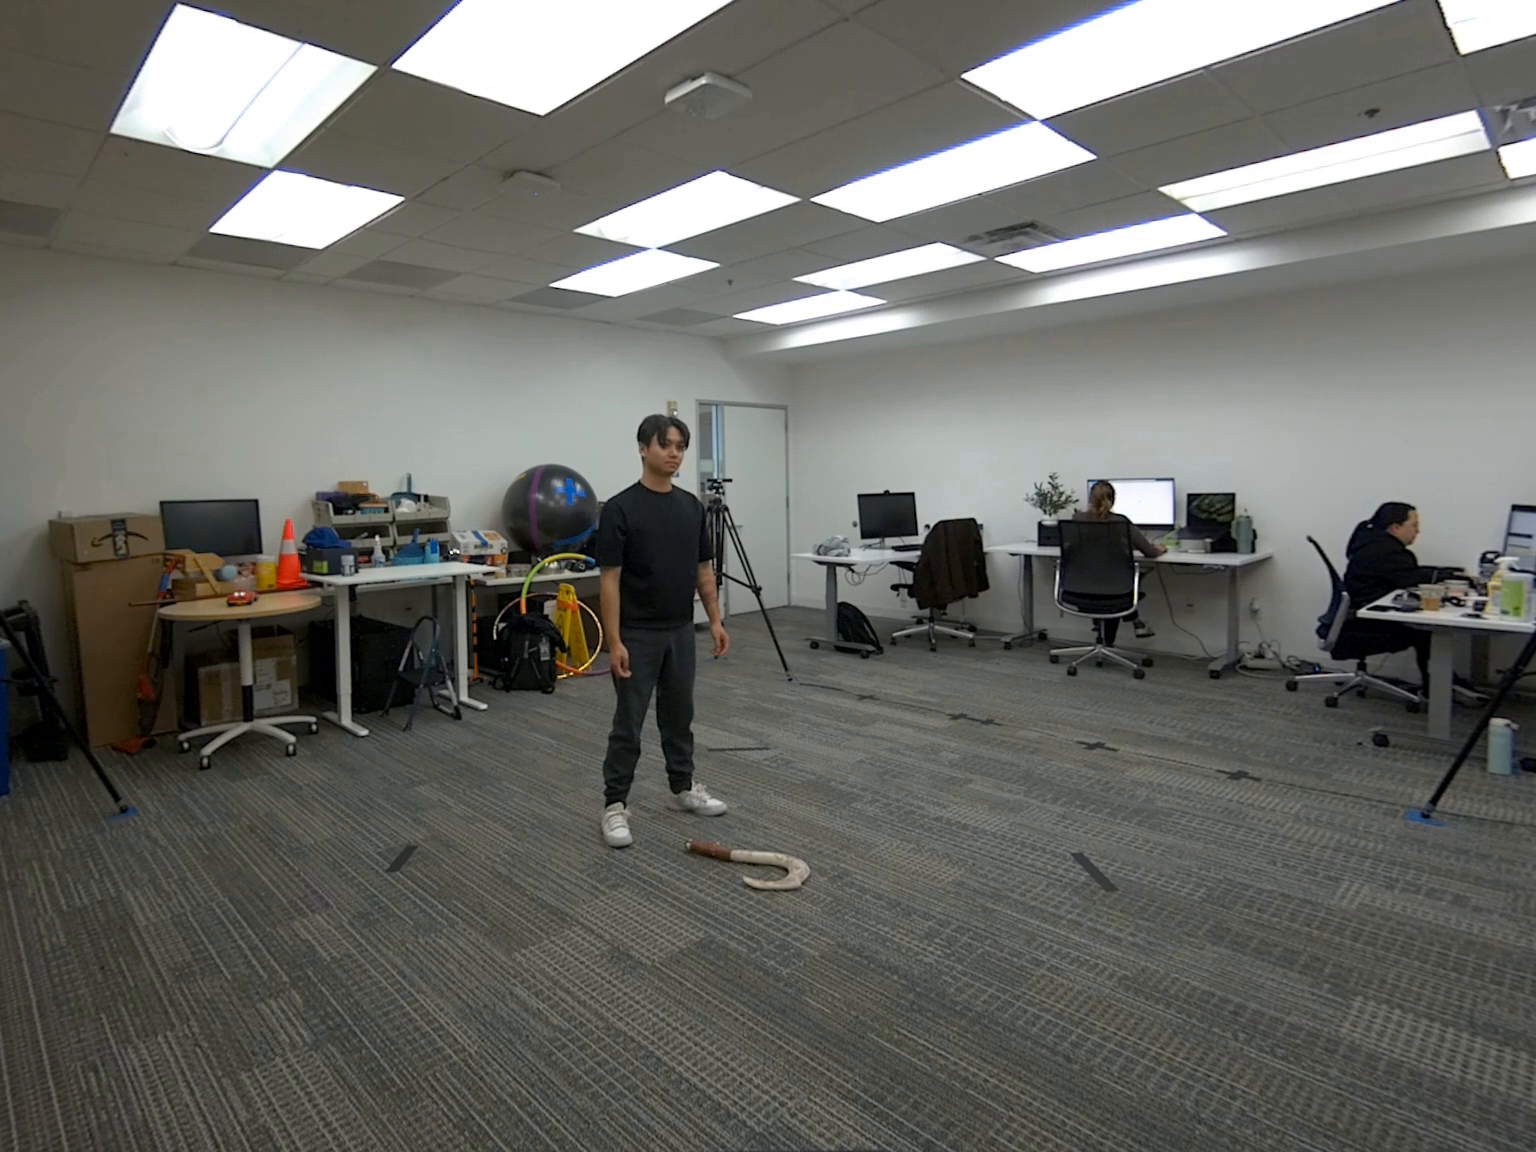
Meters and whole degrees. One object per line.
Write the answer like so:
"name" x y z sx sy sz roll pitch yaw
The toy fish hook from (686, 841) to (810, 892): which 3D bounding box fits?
"toy fish hook" -0.100 1.029 3.054 0.519 0.048 0.220 2 6 27
